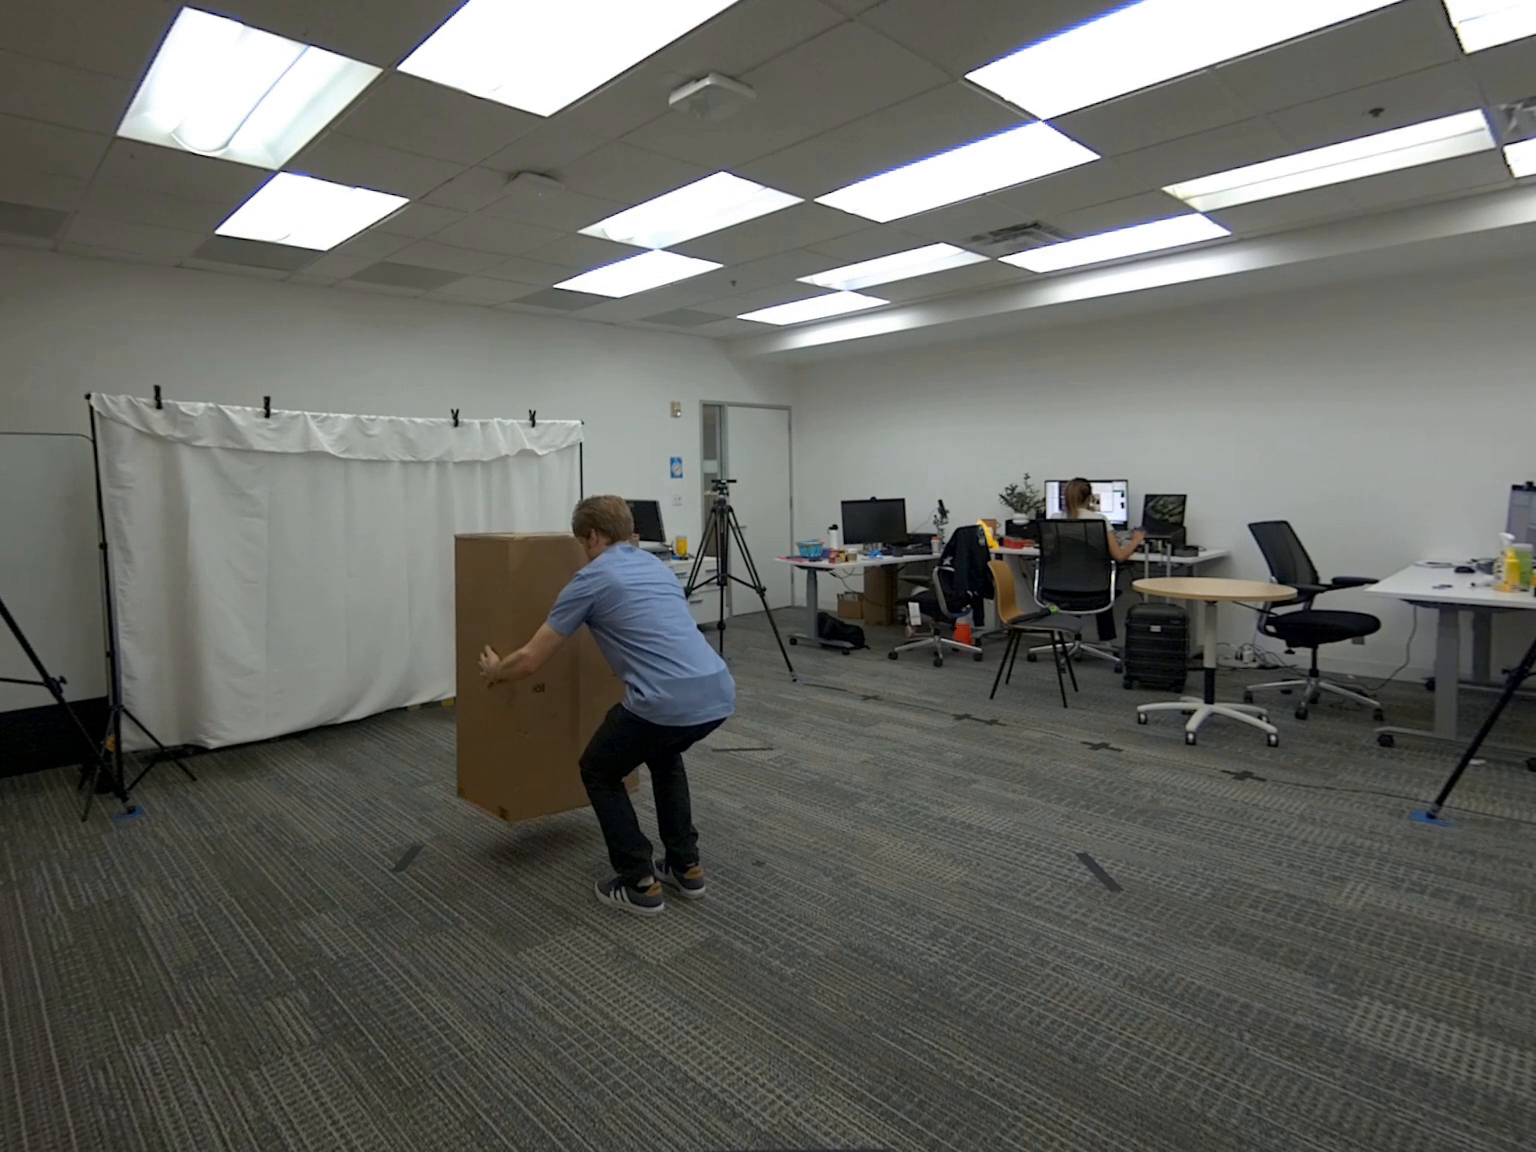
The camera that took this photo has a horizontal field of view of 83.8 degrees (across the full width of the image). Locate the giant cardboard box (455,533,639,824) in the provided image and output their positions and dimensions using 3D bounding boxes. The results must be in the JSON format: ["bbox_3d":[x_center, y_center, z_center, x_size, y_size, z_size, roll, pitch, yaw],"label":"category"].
[{"bbox_3d":[-0.857,0.345,3.330,0.561,1.024,0.439,-2,3,-44],"label":"giant cardboard box"}]
